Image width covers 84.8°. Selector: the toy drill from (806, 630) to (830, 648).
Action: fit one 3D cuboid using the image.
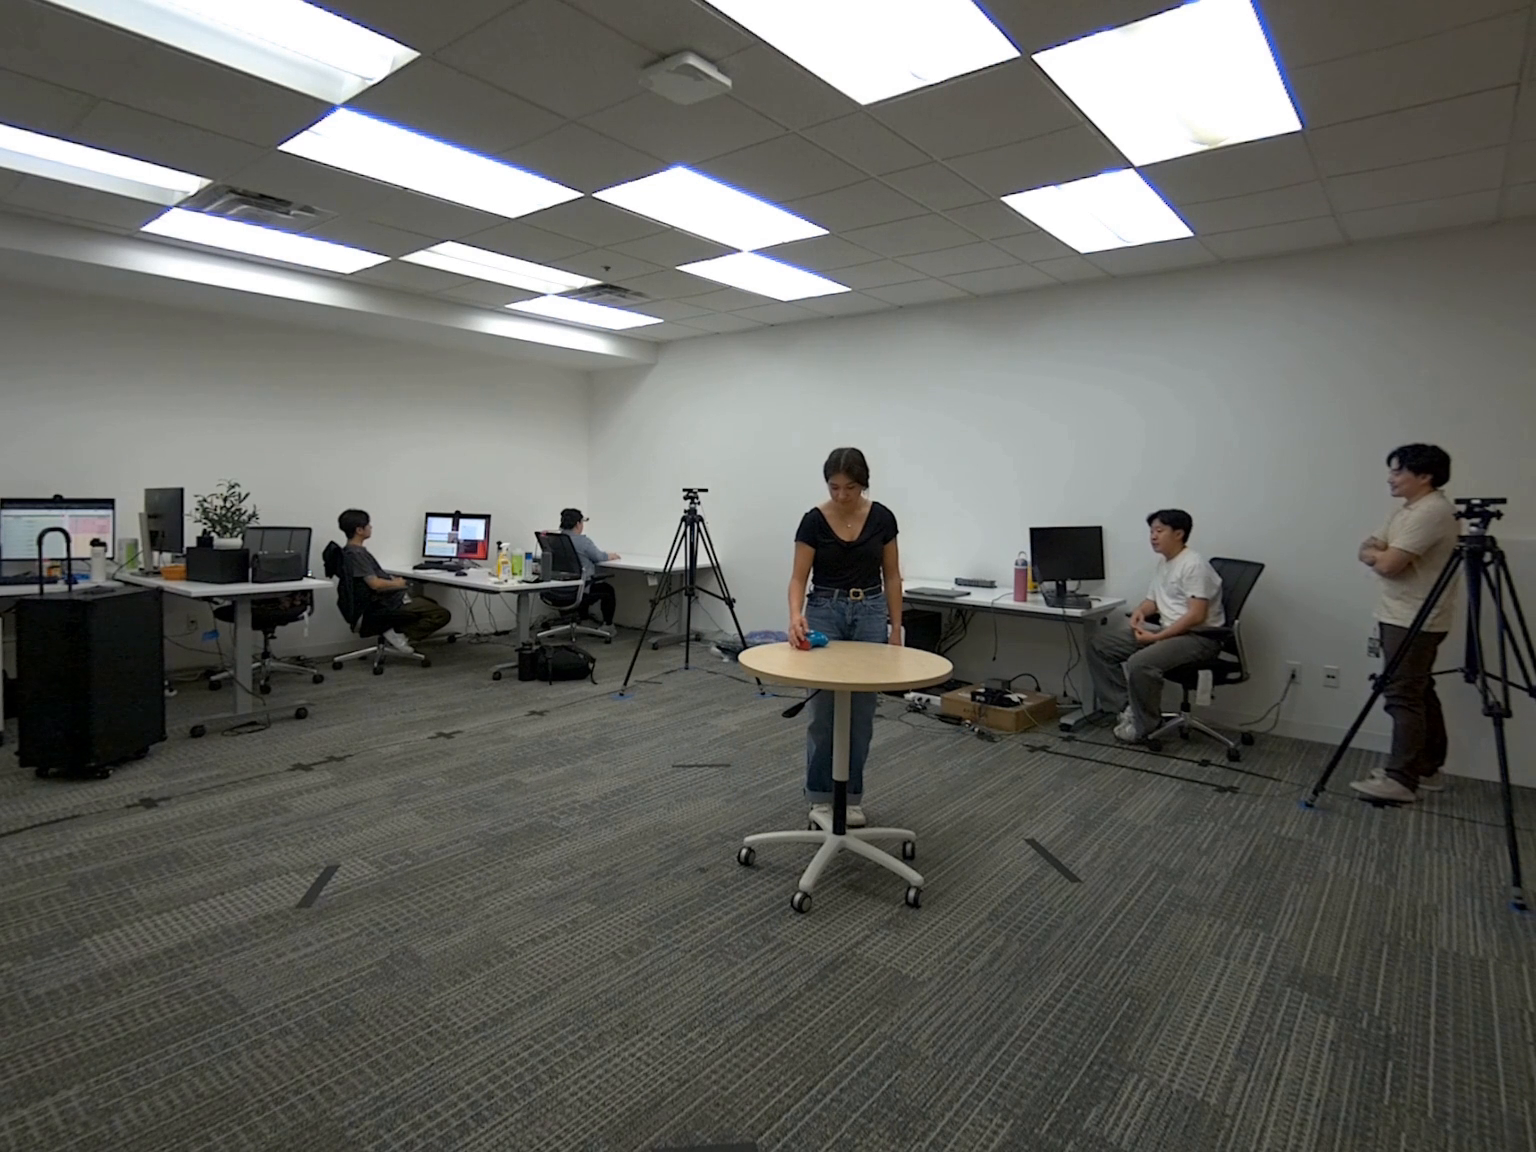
[{"bbox_3d":[0.144,0.239,3.335,0.176,0.060,0.142,15,14,42],"label":"toy drill"}]
